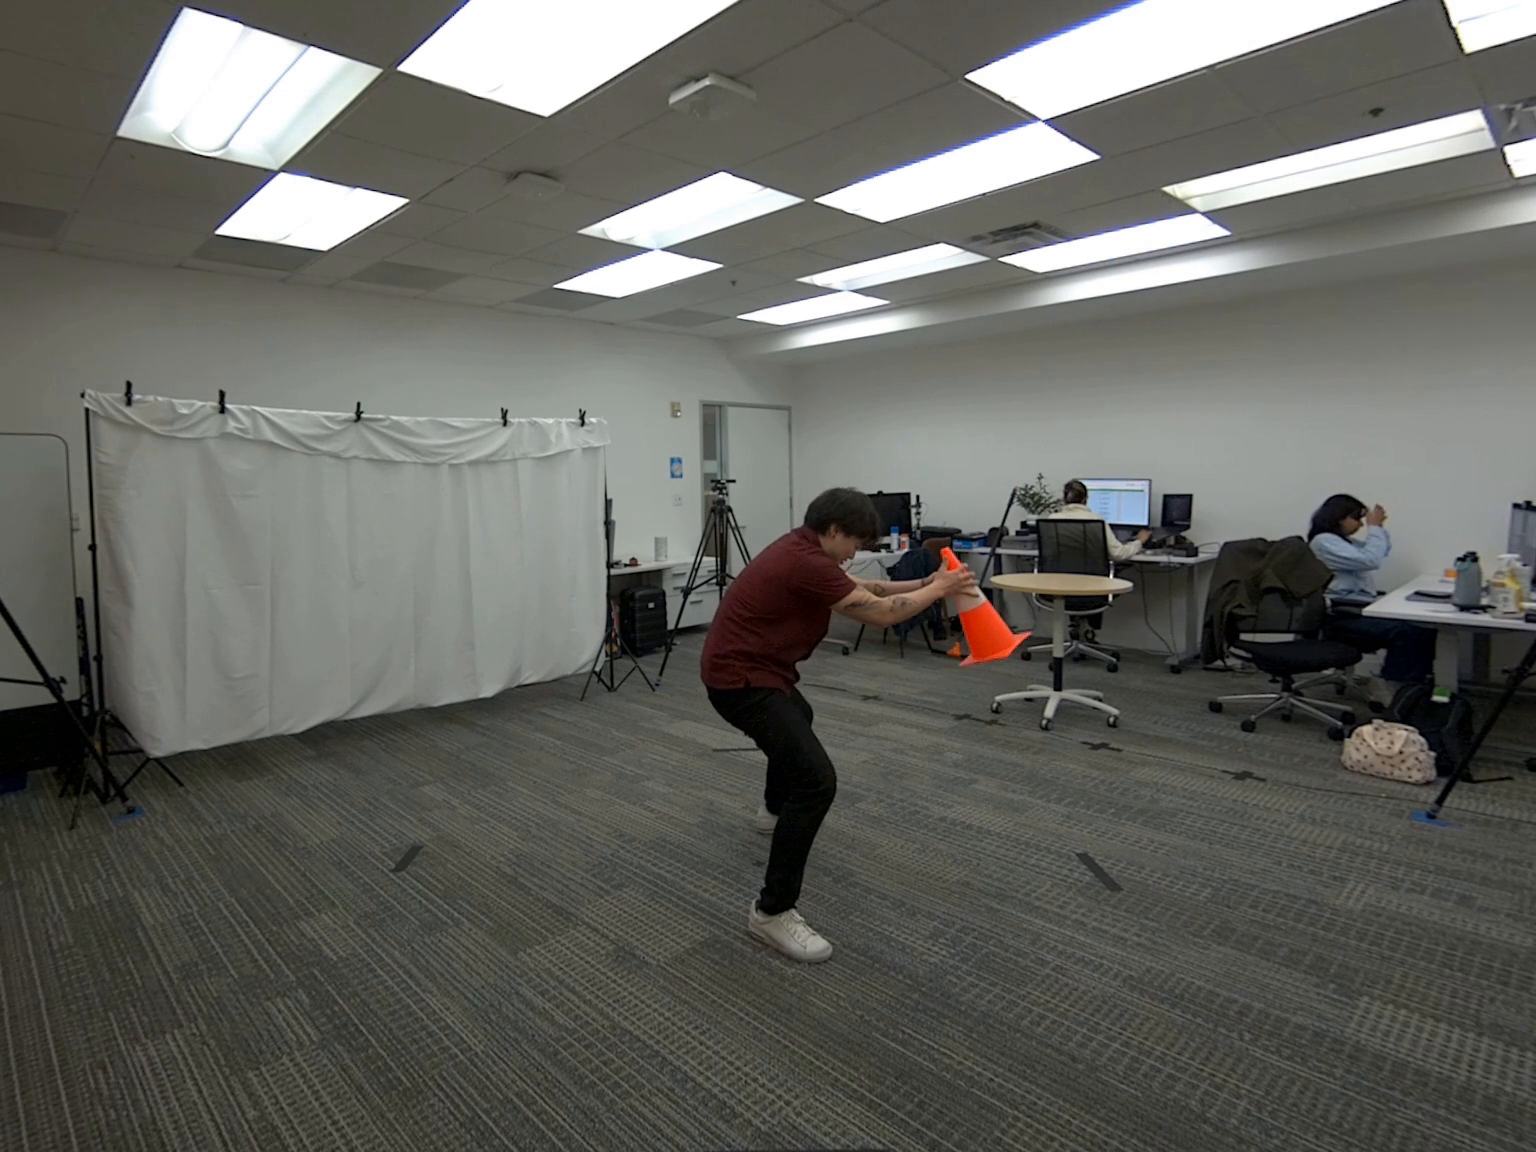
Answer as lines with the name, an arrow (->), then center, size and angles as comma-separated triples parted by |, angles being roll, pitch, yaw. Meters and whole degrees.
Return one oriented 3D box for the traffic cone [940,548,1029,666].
traffic cone -> 0.685, 0.100, 2.909 | 0.202, 0.385, 0.206 | -24, -2, -44
